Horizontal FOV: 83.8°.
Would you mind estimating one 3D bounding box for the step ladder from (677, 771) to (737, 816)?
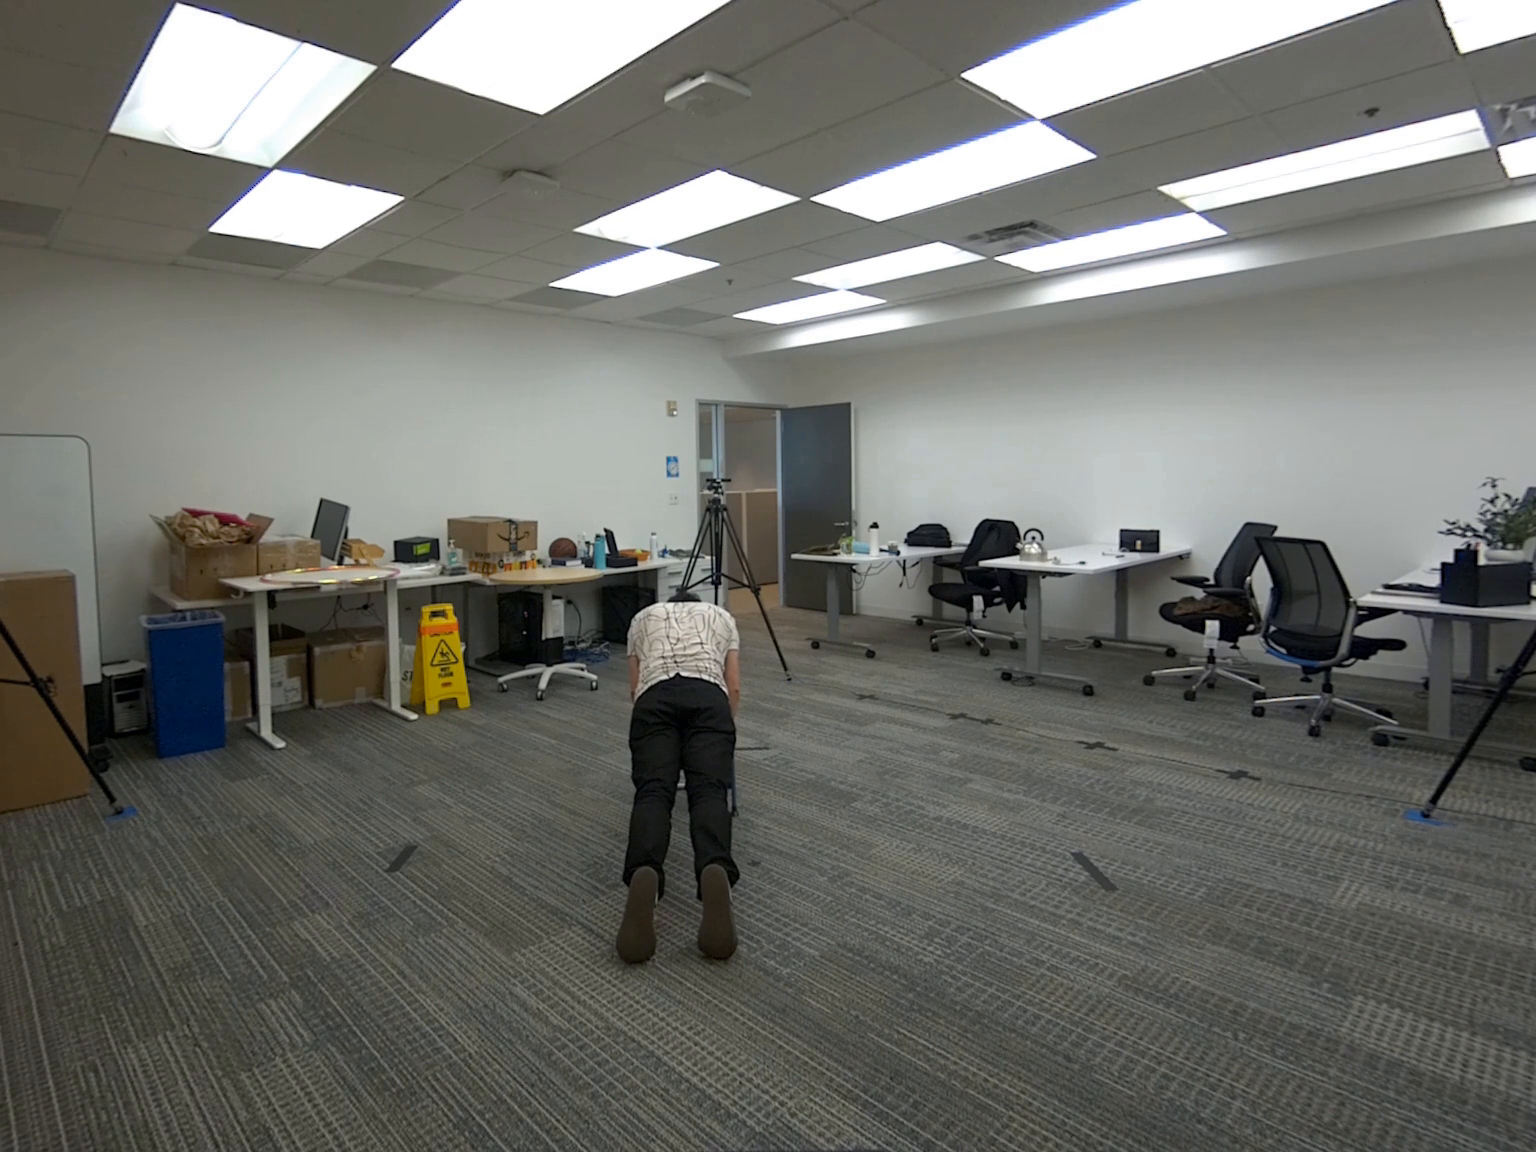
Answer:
[{"bbox_3d":[-0.349,0.686,3.699,0.430,0.604,0.351,0,4,-3],"label":"step ladder"}]
